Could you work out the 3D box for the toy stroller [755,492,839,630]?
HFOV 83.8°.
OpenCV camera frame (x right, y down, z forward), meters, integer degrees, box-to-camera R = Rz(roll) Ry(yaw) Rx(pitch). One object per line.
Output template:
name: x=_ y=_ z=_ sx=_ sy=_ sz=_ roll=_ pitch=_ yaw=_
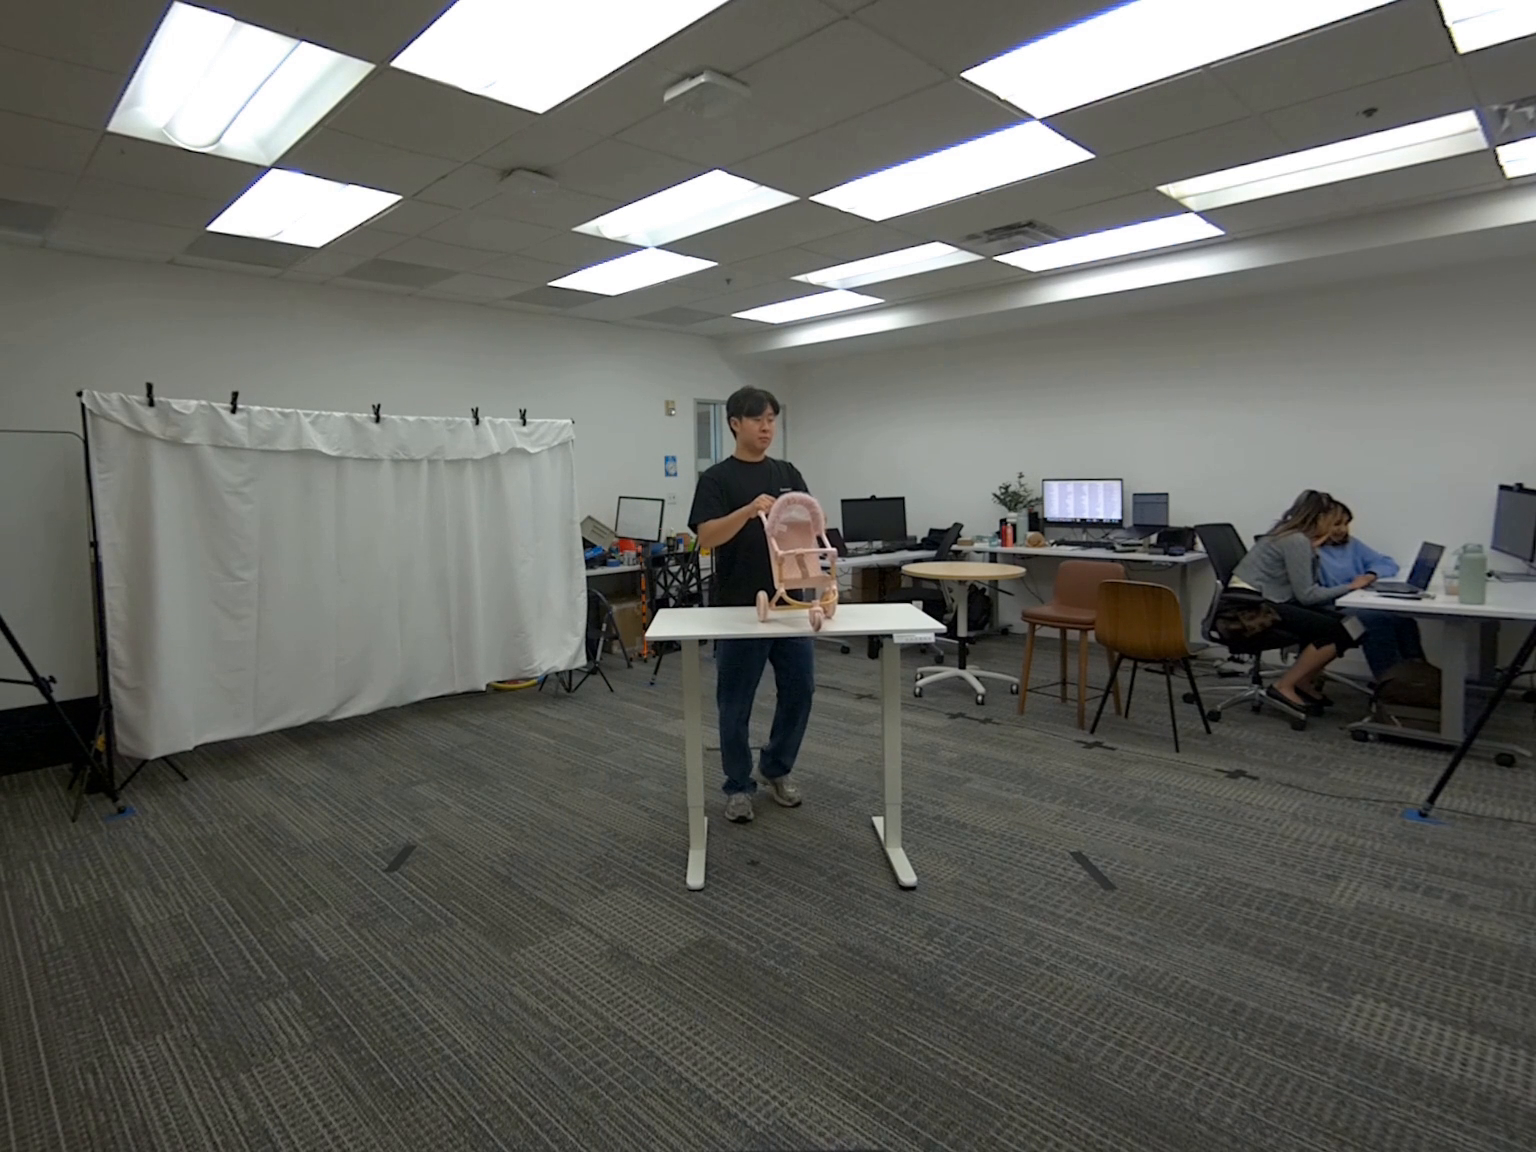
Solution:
toy stroller: x=0.102 y=-0.056 z=3.012 sx=0.279 sy=0.541 sz=0.339 roll=-3 pitch=-12 yaw=-8
